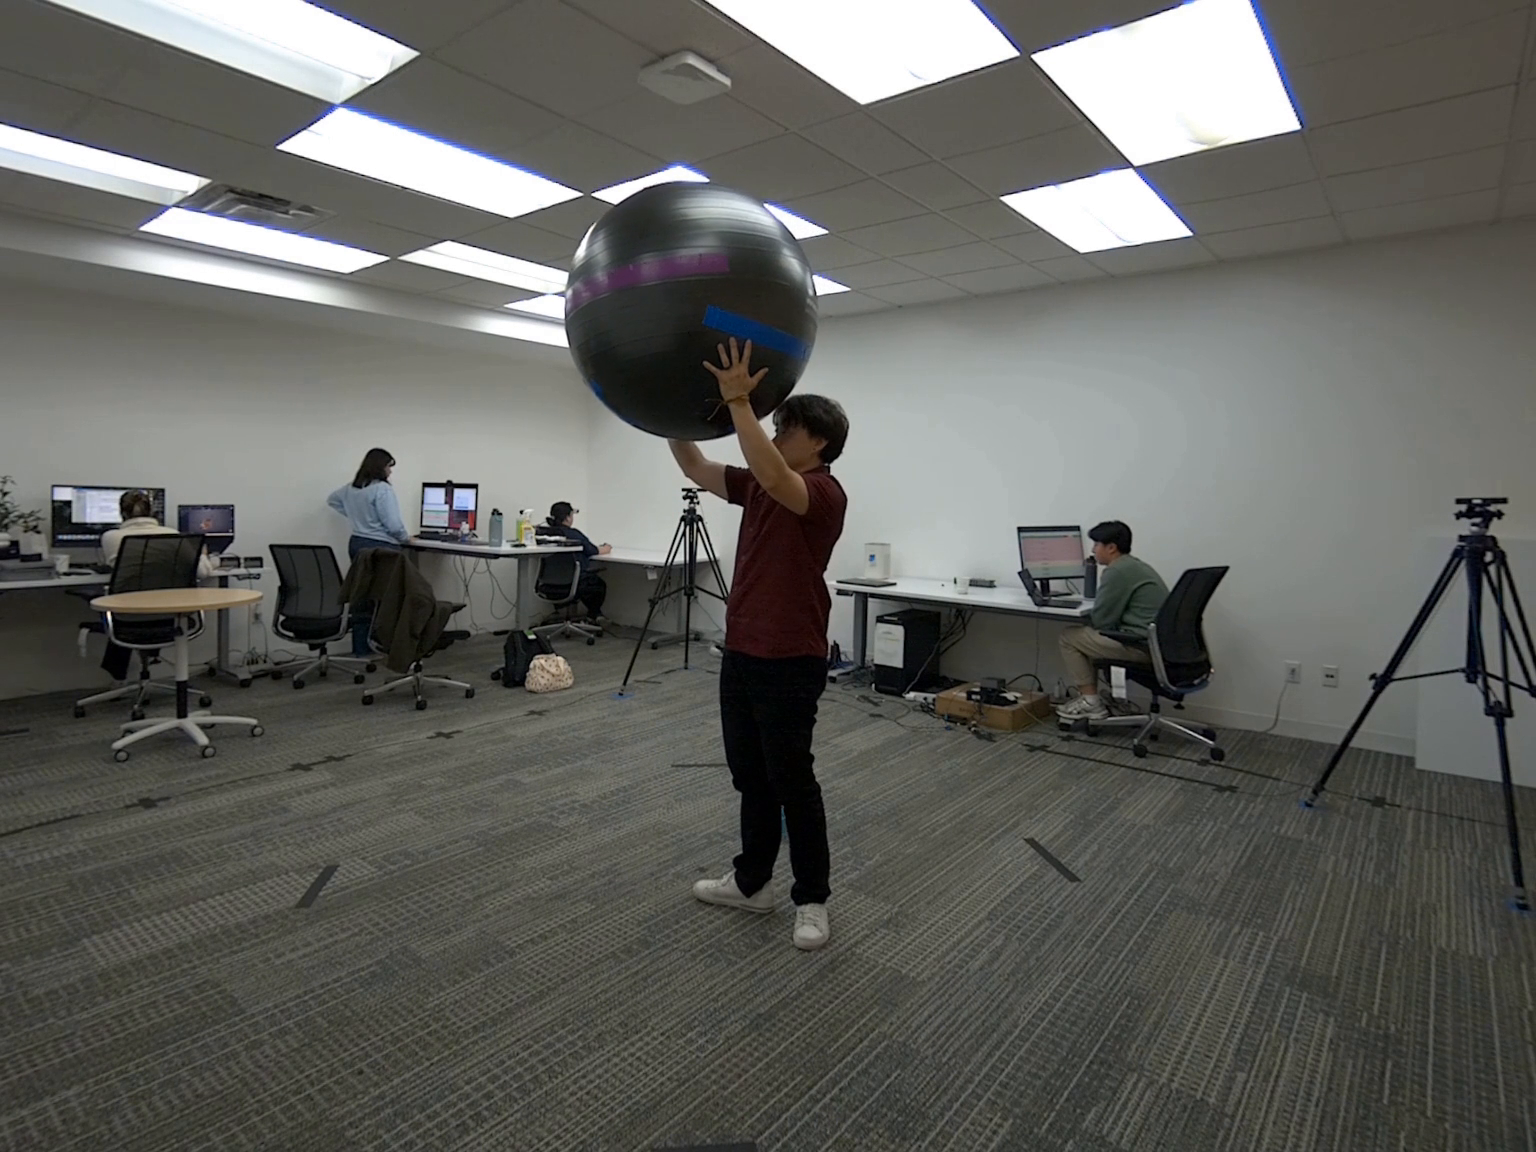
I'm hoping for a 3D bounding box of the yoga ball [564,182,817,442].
[{"bbox_3d":[-0.237,-0.787,2.554,0.757,0.755,0.762,1,4,-2],"label":"yoga ball"}]
